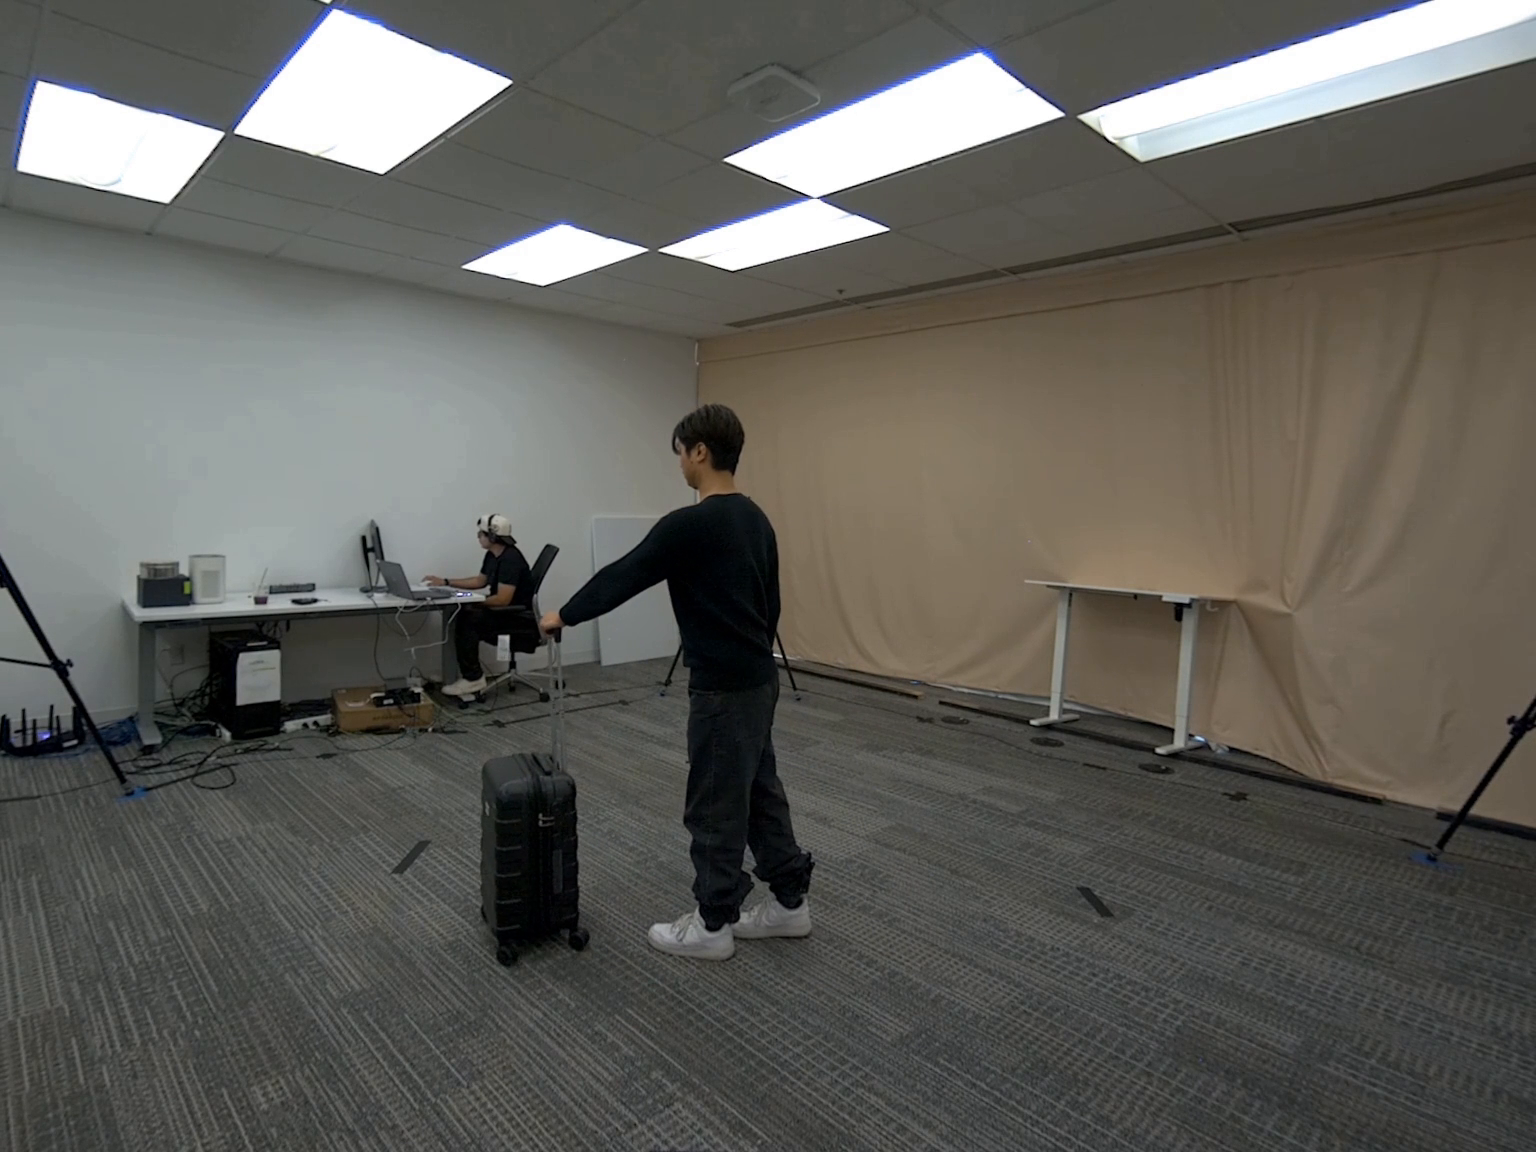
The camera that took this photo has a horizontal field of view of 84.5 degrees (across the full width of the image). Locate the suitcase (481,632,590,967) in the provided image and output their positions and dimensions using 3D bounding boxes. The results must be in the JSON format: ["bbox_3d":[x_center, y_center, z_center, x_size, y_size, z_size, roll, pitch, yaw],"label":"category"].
[{"bbox_3d":[-0.765,0.652,2.650,0.252,0.975,0.392,-4,5,-27],"label":"suitcase"}]
